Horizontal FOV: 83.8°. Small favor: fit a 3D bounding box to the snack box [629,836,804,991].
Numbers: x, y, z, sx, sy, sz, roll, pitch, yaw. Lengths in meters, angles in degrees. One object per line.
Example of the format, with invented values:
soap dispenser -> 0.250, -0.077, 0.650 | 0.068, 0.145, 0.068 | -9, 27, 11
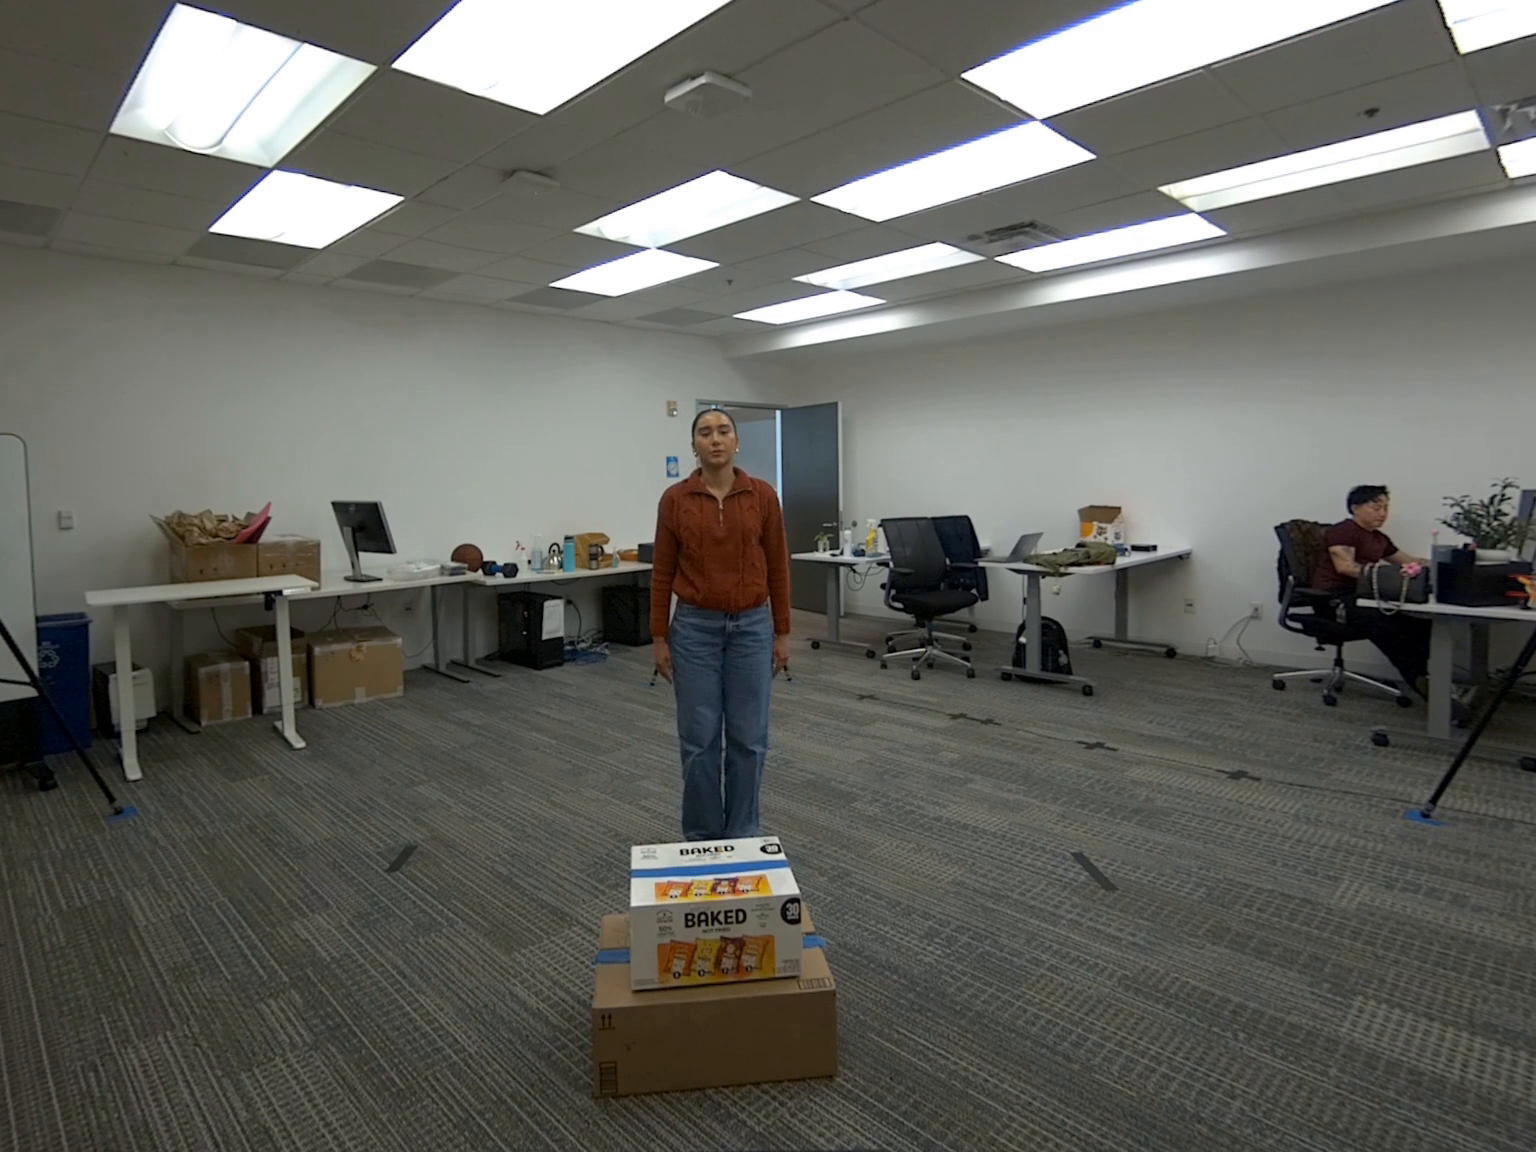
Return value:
snack box -> -0.144, 0.843, 2.156 | 0.403, 0.205, 0.344 | -2, 5, -7
